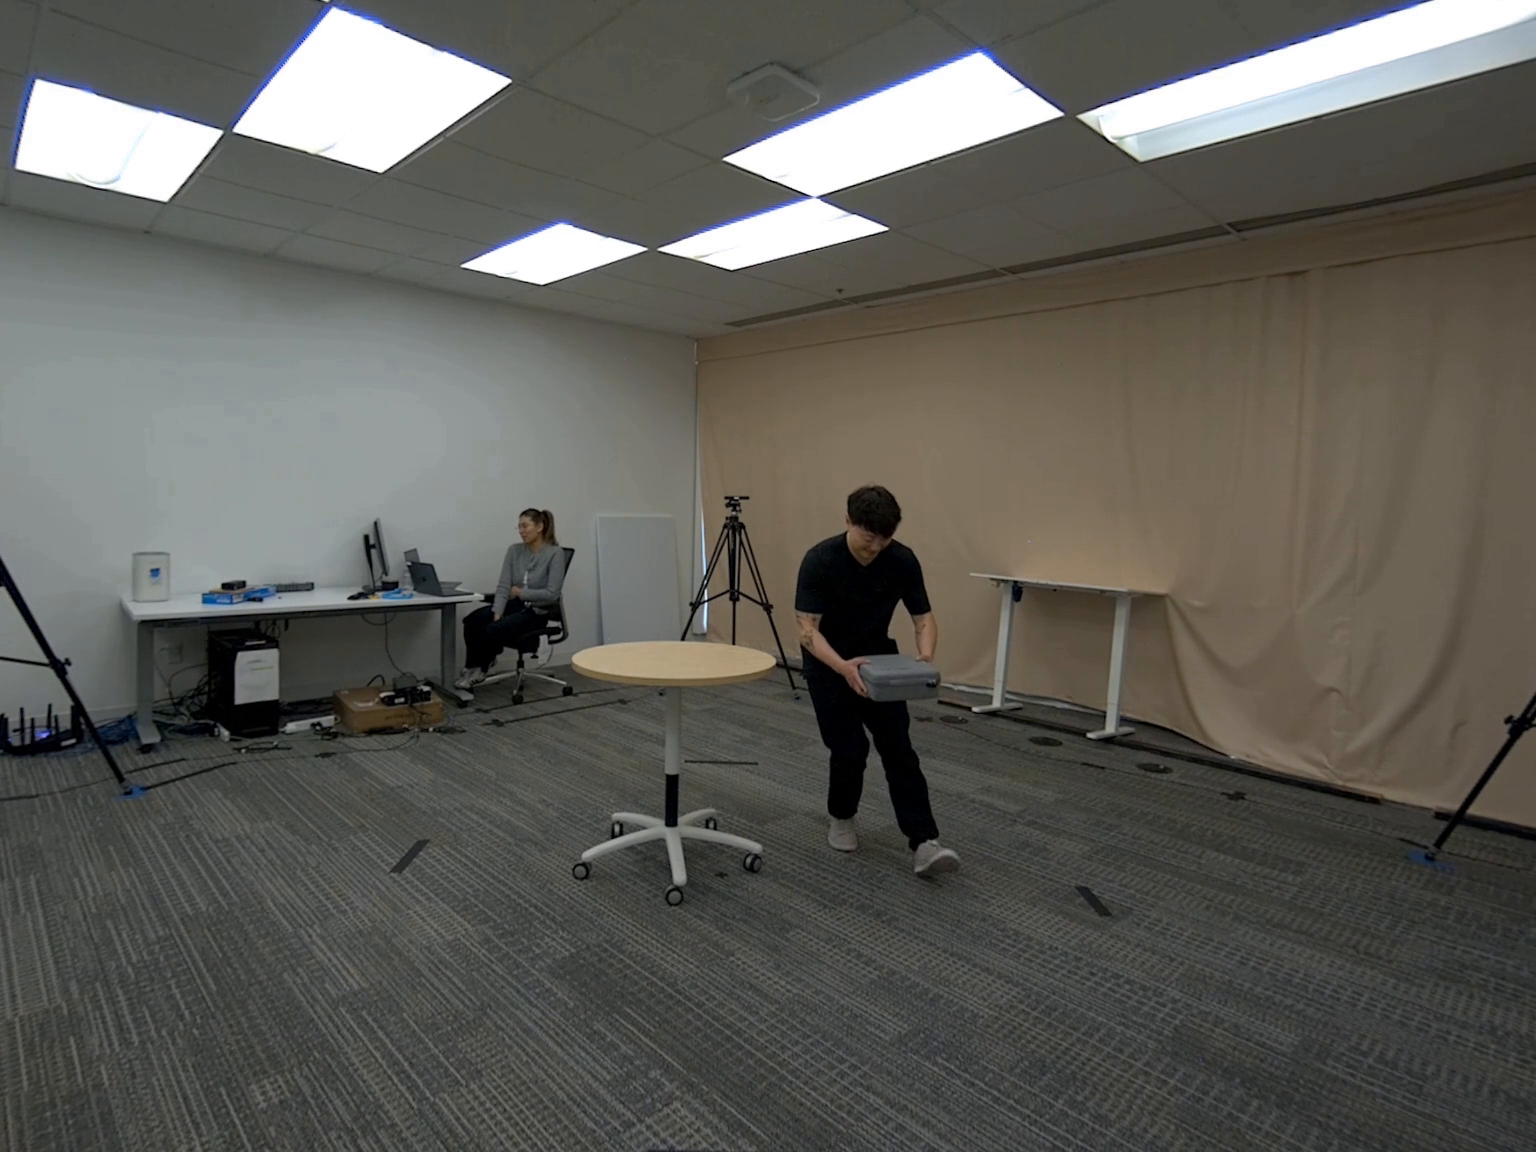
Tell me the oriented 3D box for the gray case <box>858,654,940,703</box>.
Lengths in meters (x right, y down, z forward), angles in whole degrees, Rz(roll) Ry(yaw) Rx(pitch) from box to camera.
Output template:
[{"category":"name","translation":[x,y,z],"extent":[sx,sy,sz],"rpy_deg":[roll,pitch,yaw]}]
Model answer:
[{"category":"gray case","translation":[0.451,0.363,2.994],"extent":[0.255,0.104,0.264],"rpy_deg":[-2,9,-11]}]
